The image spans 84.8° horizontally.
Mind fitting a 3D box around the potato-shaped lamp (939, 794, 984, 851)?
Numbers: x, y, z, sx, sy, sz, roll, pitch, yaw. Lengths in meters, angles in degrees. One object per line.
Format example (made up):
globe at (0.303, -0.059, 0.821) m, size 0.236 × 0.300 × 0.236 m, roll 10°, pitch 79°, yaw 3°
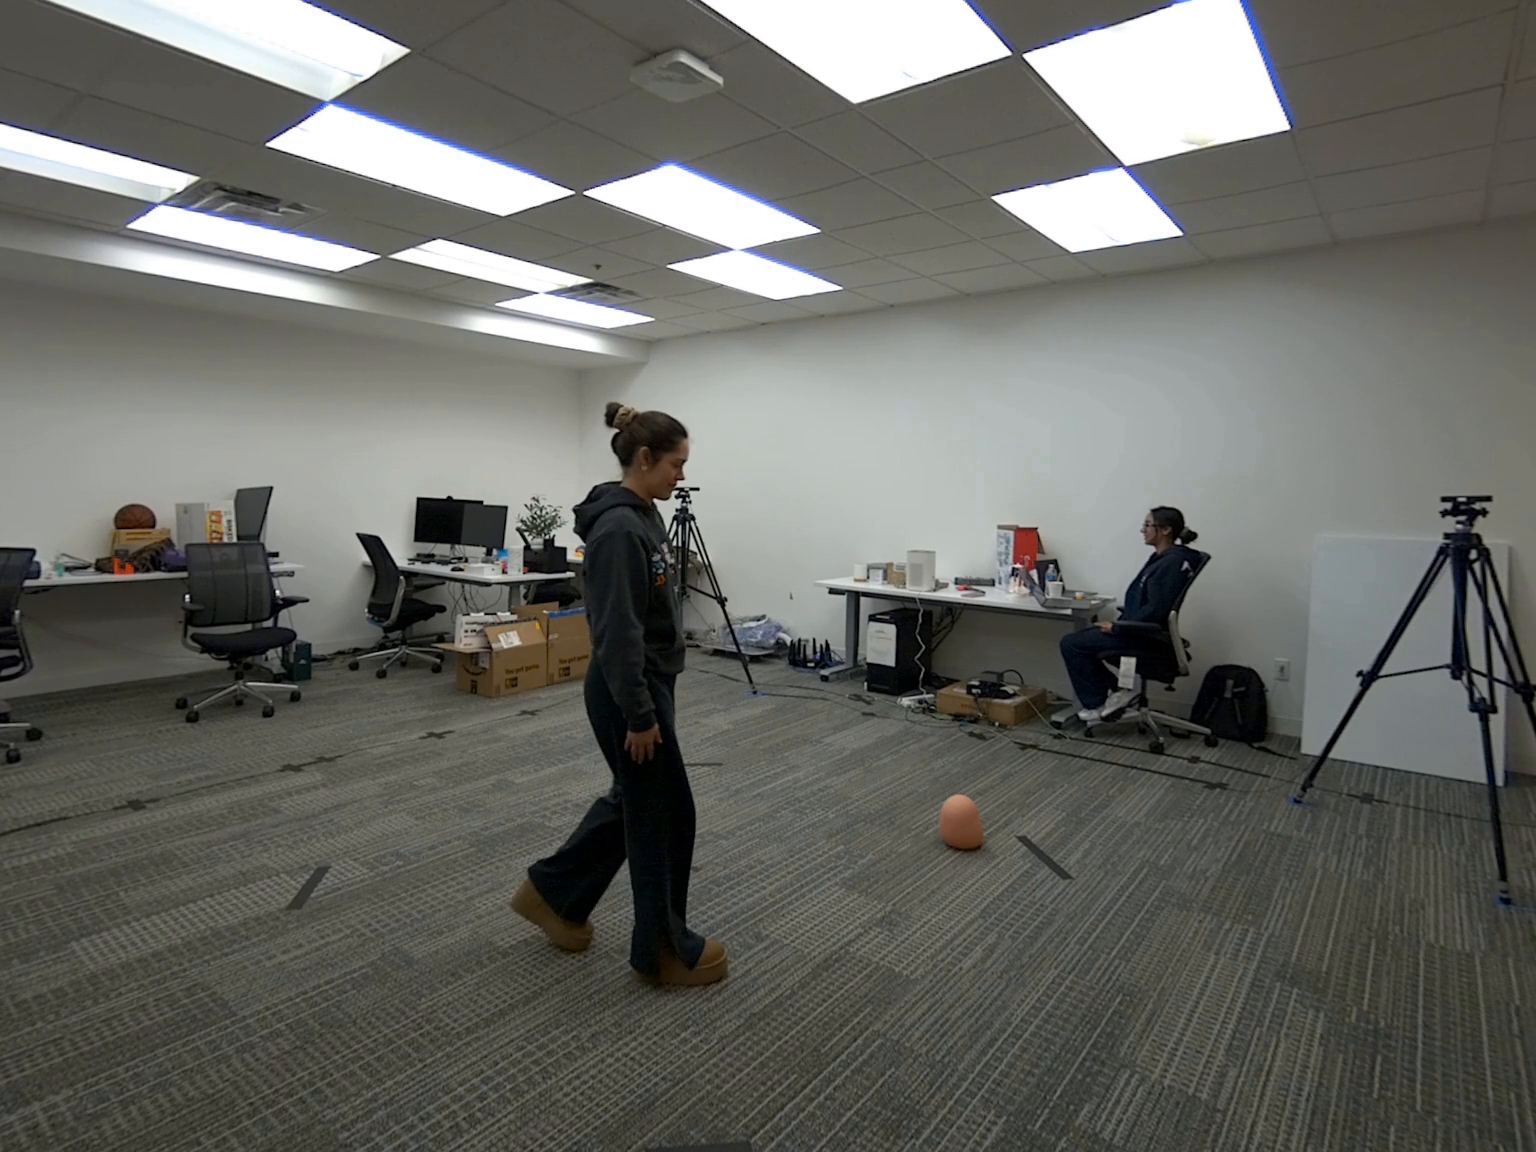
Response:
potato-shaped lamp at (0.765, 0.959, 3.368) m, size 0.167 × 0.197 × 0.170 m, roll -9°, pitch 10°, yaw -42°
